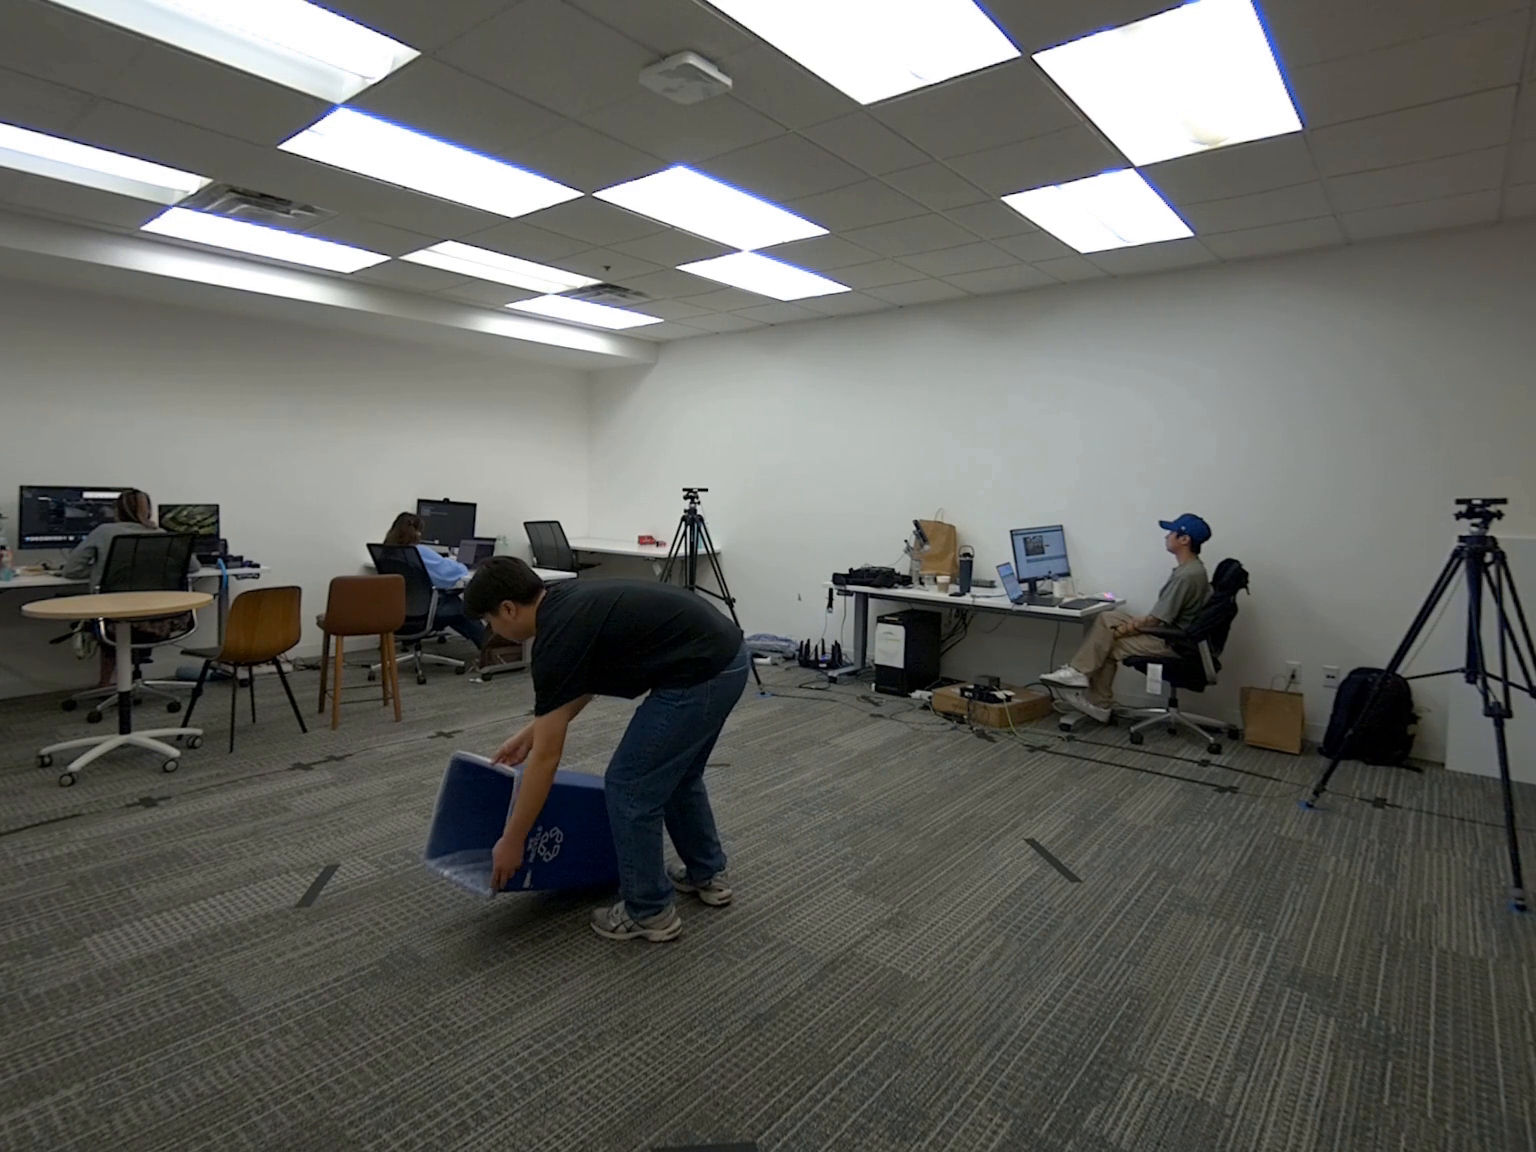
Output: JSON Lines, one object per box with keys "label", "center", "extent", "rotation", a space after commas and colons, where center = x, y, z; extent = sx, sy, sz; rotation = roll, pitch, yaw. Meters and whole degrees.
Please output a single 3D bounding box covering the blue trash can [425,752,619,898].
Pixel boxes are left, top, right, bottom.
{"label": "blue trash can", "center": [-0.727, 0.830, 2.864], "extent": [0.390, 0.377, 0.685], "rotation": [2, -12, 38]}
